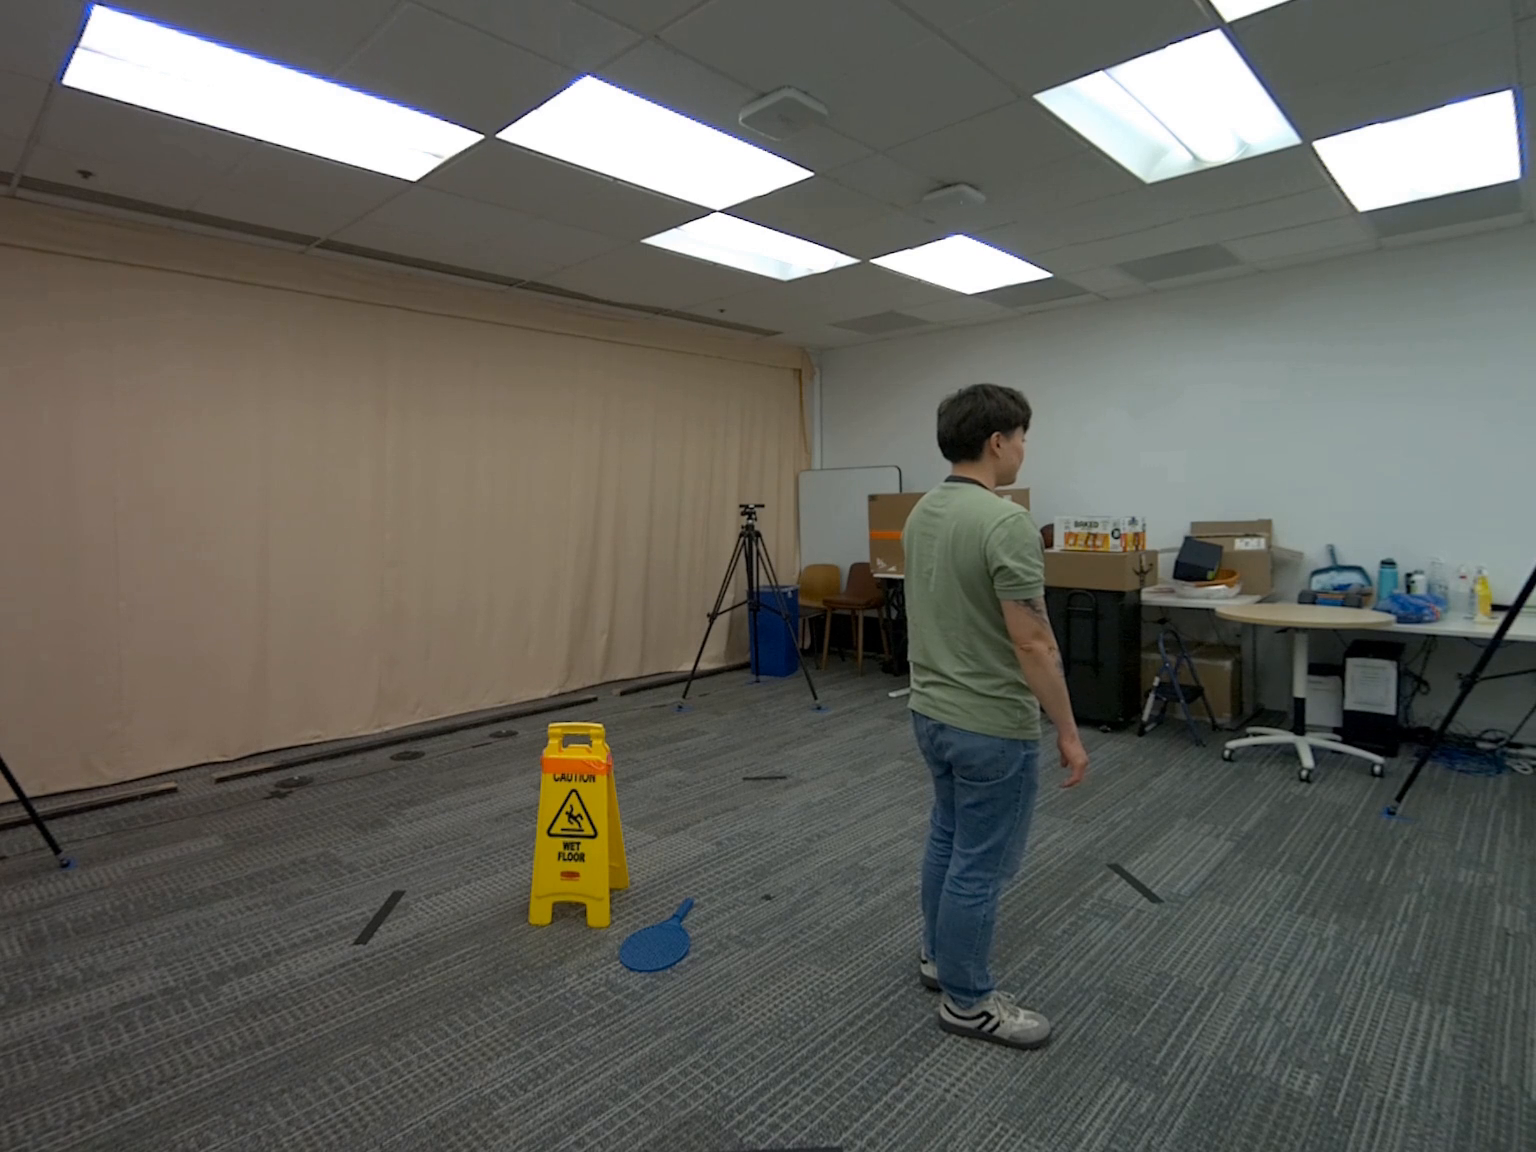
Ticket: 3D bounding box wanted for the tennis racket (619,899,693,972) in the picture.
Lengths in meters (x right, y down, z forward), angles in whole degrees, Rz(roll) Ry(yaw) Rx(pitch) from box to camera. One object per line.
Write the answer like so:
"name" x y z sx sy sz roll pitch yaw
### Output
"tennis racket" -0.332 1.157 2.725 0.217 0.031 0.427 0 6 16
